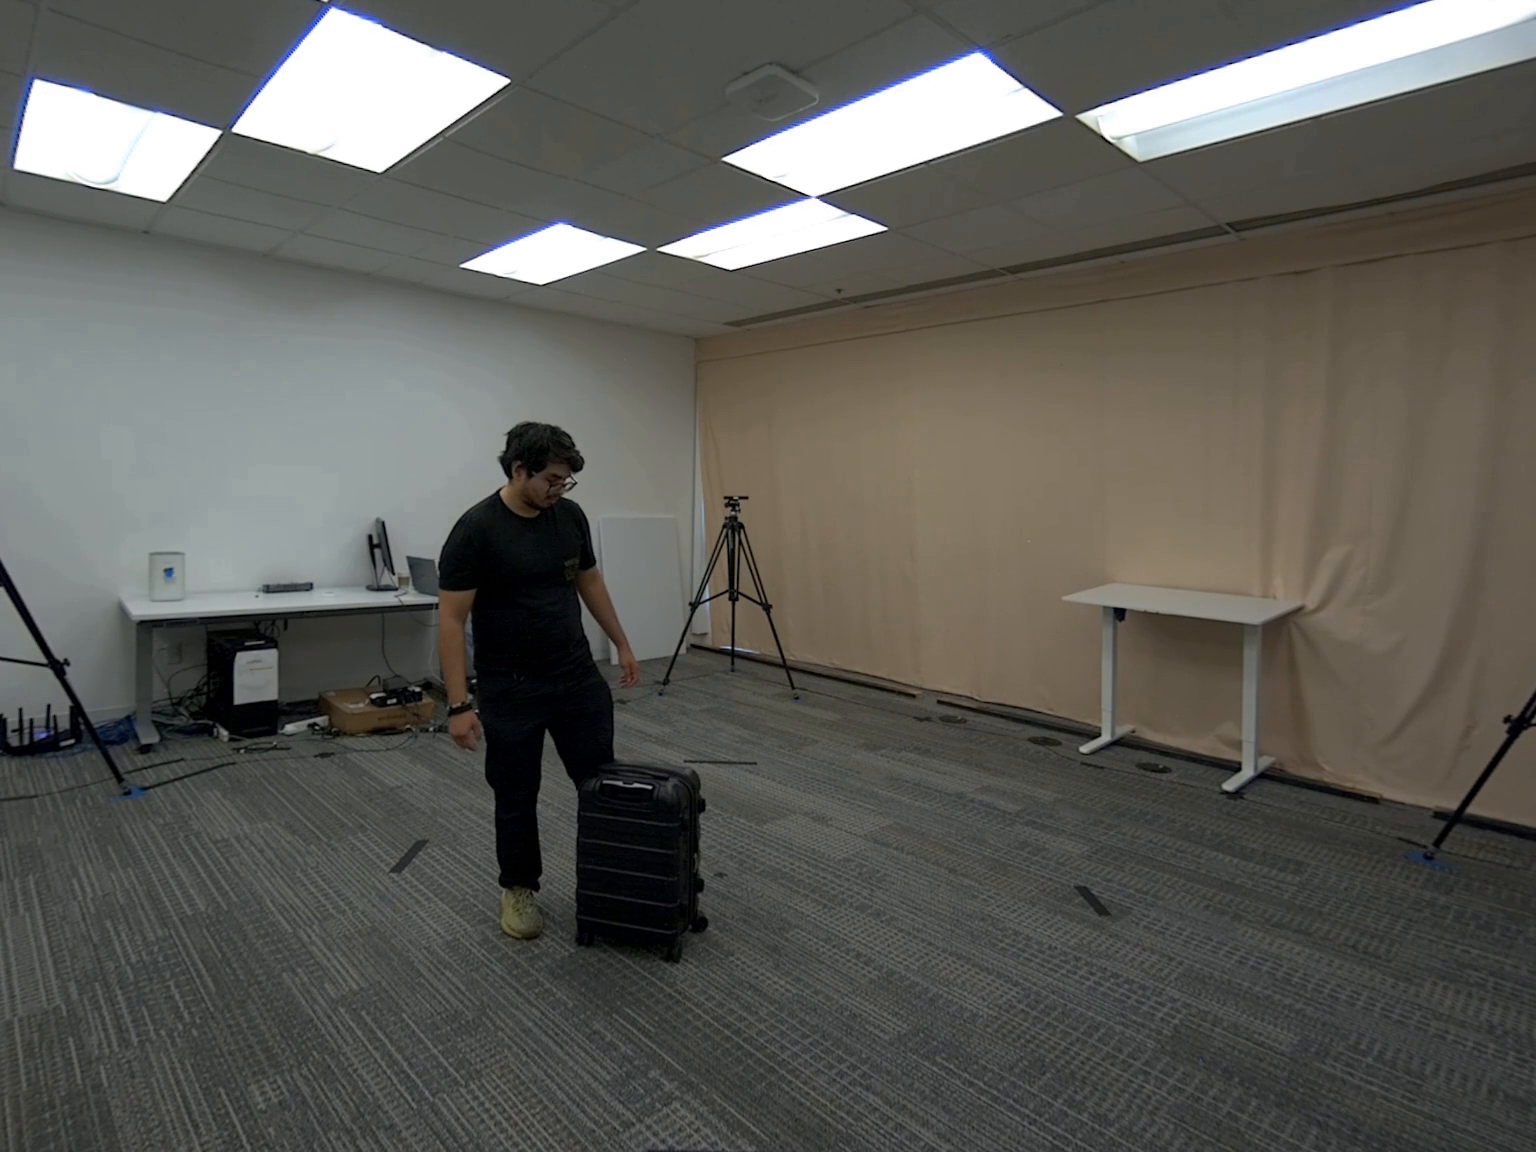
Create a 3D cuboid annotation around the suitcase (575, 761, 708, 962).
[{"bbox_3d":[-0.408,0.871,2.618,0.380,0.548,0.246,2,4,15],"label":"suitcase"}]
